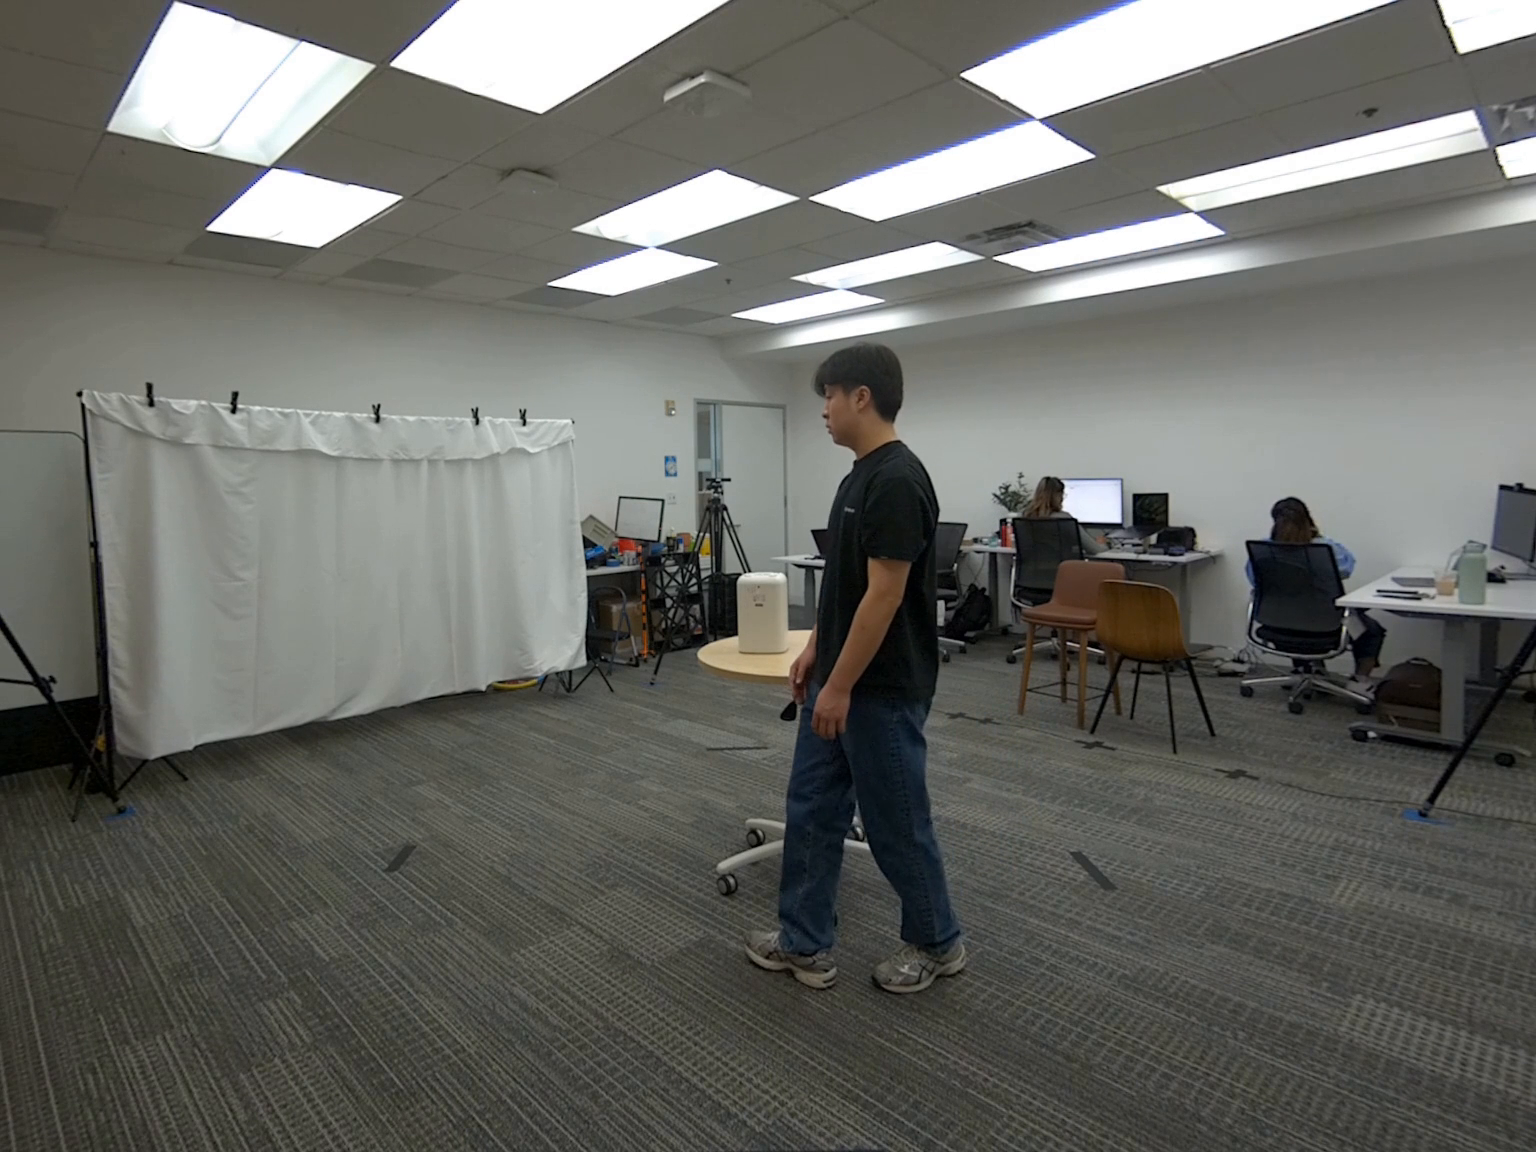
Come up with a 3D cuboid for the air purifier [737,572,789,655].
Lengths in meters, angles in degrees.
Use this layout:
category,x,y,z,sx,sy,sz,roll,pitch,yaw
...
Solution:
category,x,y,z,sx,sy,sz,roll,pitch,yaw
air purifier,-0.010,0.128,3.001,0.172,0.265,0.171,0,3,6
